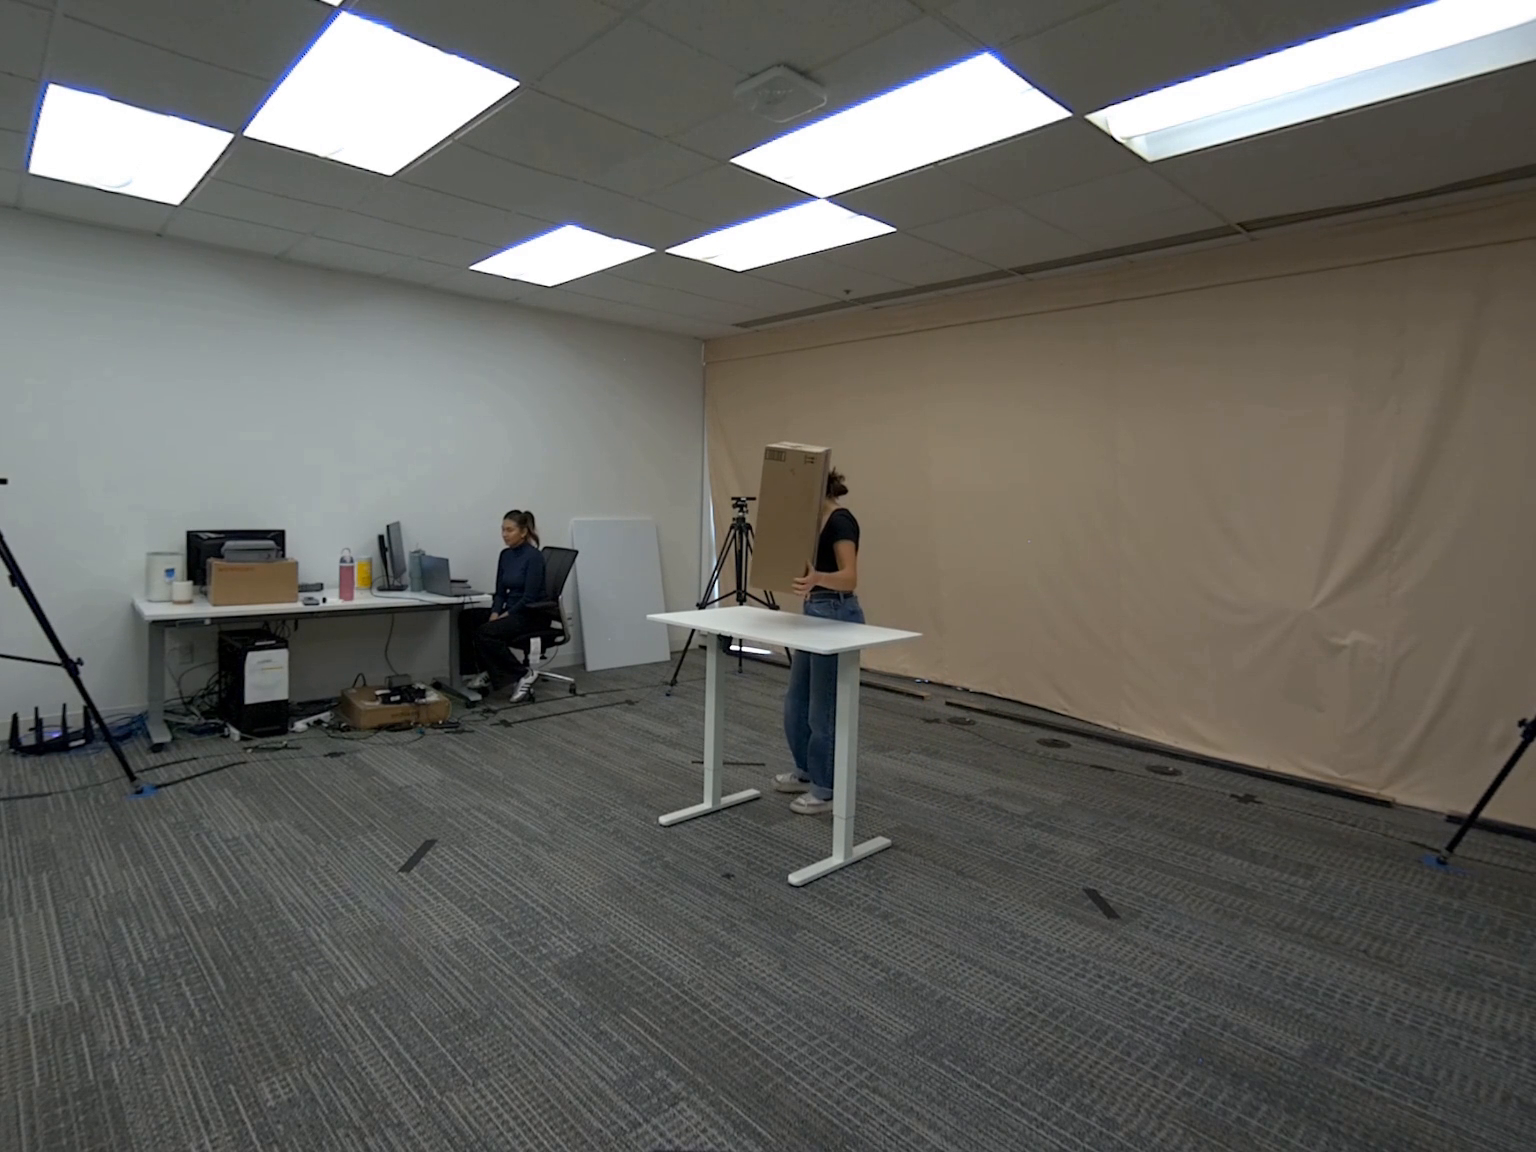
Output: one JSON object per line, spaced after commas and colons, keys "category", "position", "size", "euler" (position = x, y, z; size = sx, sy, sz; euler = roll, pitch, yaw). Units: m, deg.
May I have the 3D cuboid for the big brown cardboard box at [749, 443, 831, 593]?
{"category": "big brown cardboard box", "position": [0.091, -0.248, 3.467], "size": [0.235, 0.584, 0.416], "euler": [8, 12, 10]}
